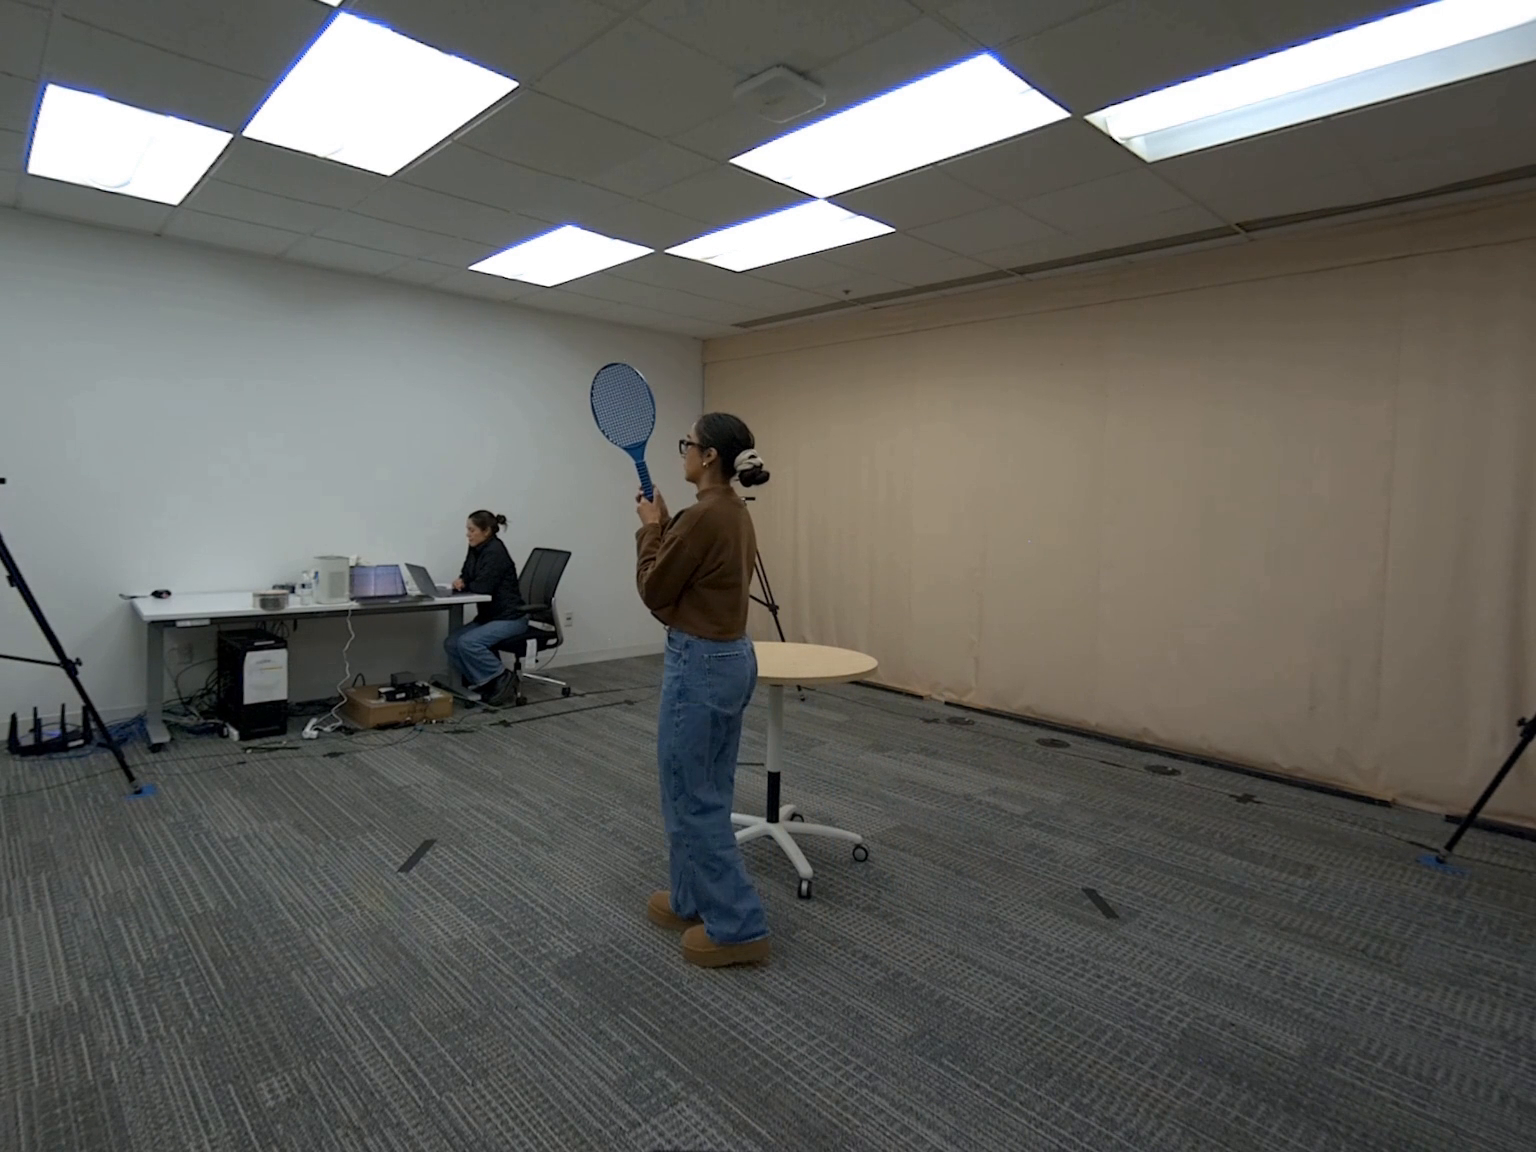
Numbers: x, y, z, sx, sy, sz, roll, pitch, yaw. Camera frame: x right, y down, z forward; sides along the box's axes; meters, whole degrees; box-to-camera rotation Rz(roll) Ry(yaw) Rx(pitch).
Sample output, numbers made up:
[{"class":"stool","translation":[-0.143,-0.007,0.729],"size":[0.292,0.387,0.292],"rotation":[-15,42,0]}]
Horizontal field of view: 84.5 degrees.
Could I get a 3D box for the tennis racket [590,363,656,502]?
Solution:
[{"class":"tennis racket","translation":[-0.425,-0.446,2.587],"size":[0.216,0.430,0.031],"rotation":[-11,6,20]}]
